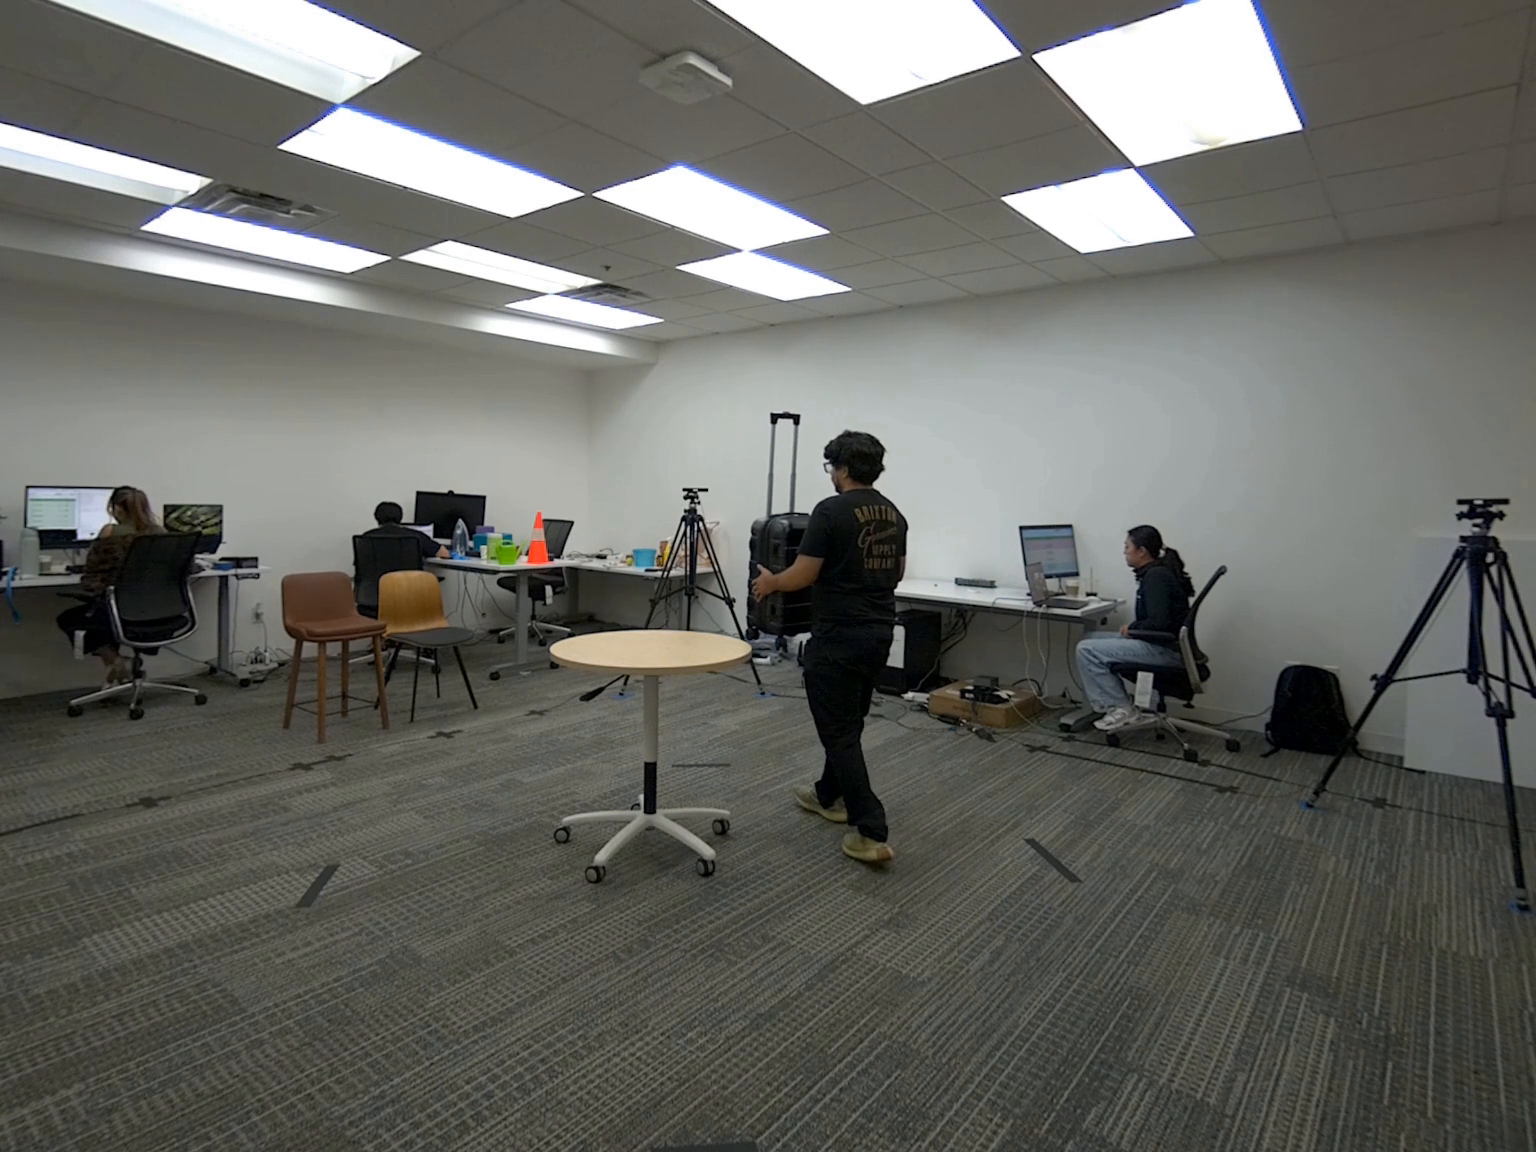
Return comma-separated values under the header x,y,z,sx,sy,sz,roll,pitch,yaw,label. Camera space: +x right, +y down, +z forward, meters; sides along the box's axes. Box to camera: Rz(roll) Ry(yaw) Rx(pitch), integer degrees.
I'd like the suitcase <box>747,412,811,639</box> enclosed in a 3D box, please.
x,y,z,sx,sy,sz,roll,pitch,yaw,label
0.112,-0.208,3.651,0.373,0.972,0.266,-3,9,-36,suitcase
